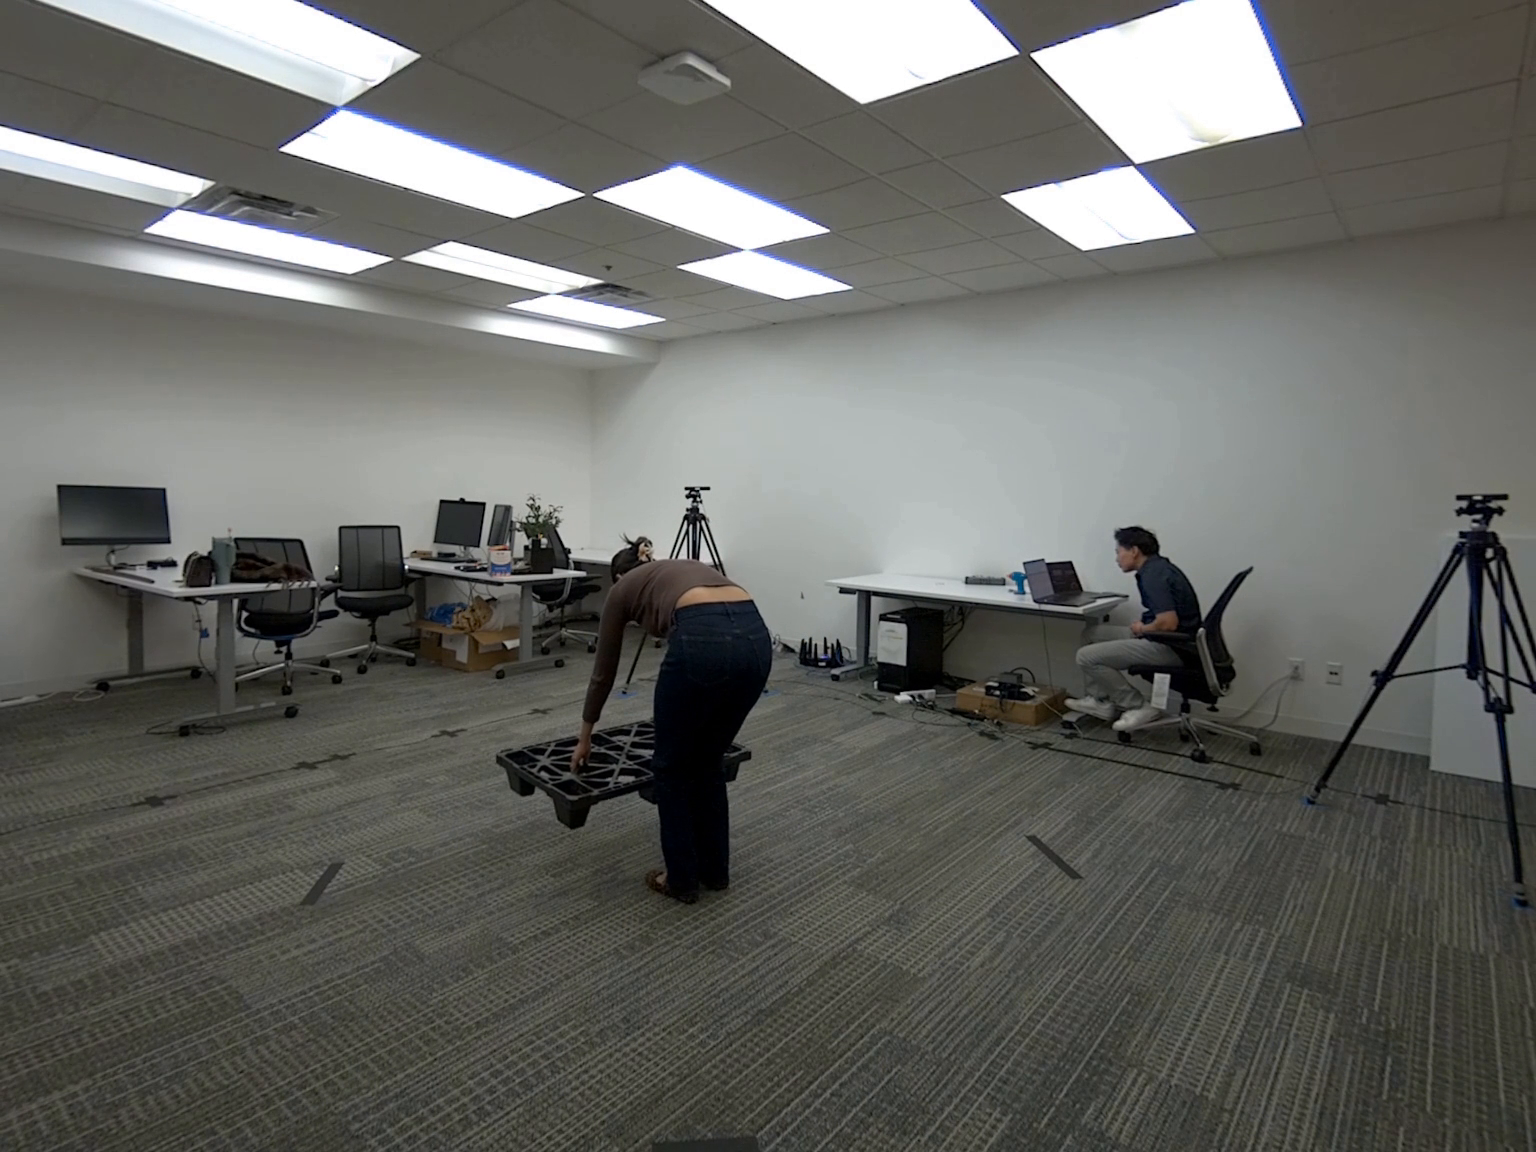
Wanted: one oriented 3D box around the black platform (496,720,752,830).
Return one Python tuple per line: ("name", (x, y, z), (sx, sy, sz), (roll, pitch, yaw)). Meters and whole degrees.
("black platform", (-0.558, 0.743, 3.280), (0.783, 0.142, 0.626), (-6, 10, -40))
